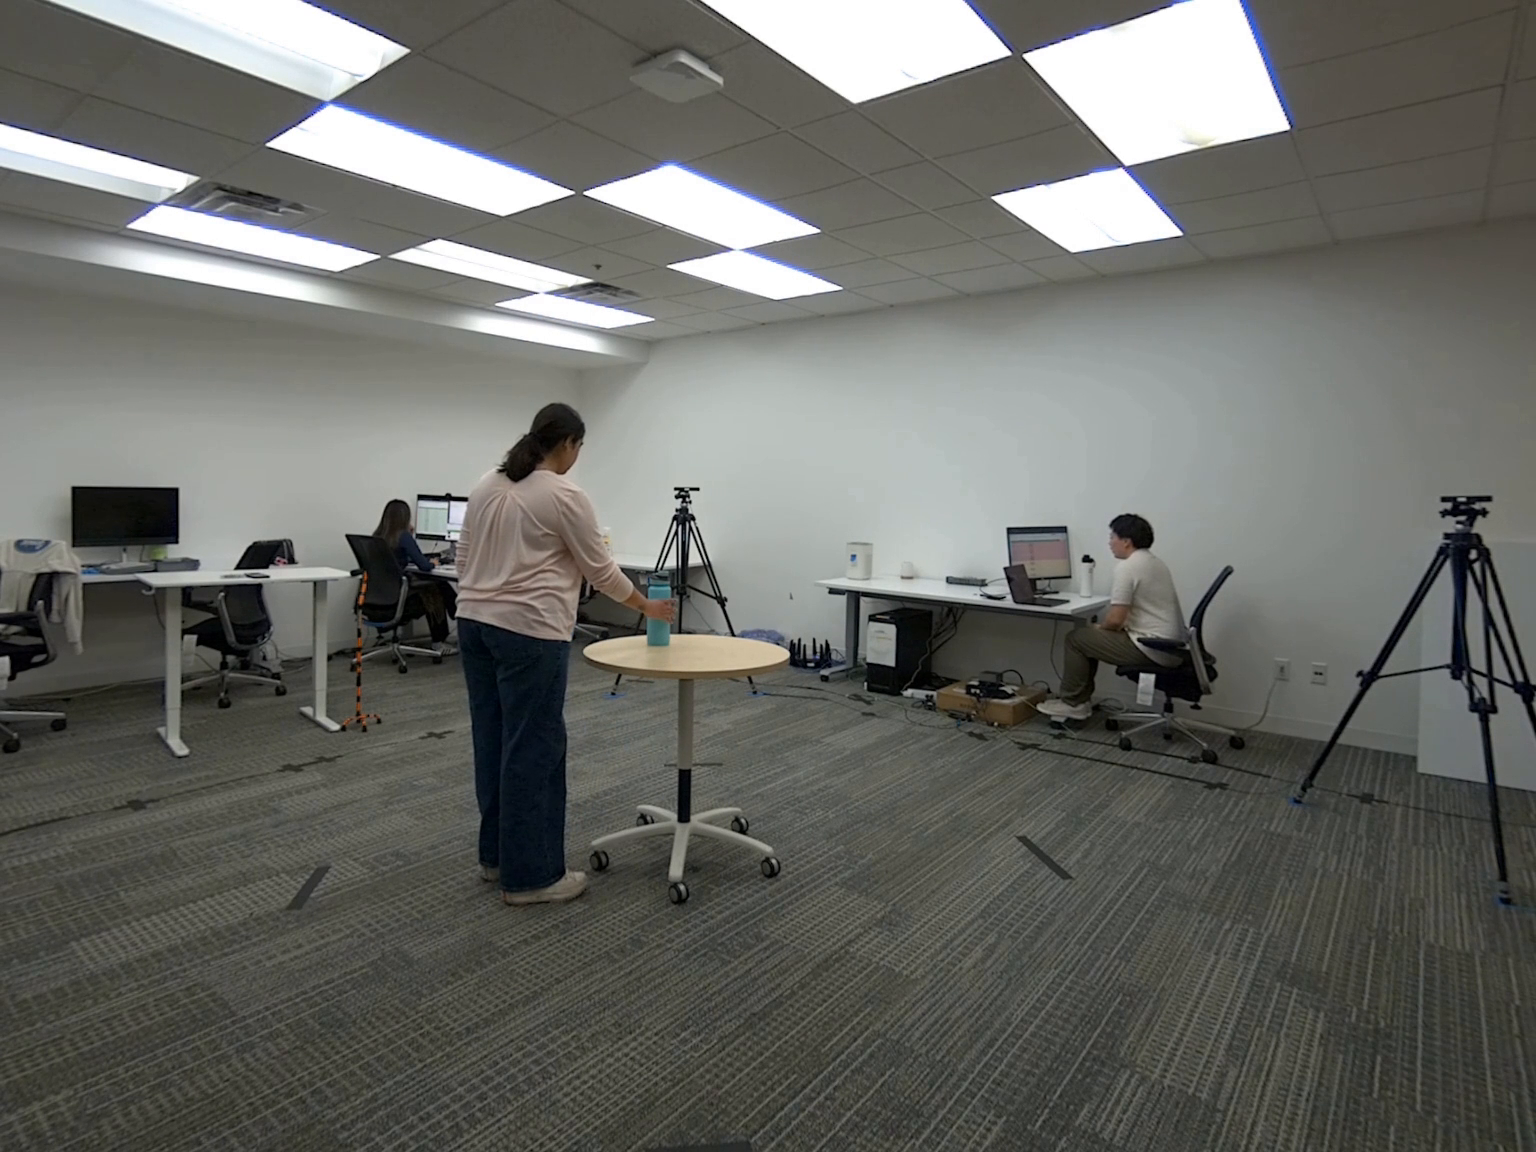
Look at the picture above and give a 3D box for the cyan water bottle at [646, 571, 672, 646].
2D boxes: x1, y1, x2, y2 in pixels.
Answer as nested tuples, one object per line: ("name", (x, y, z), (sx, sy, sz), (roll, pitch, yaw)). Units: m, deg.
("cyan water bottle", (-0.434, 0.122, 3.306), (0.092, 0.283, 0.092), (1, 0, -2))
